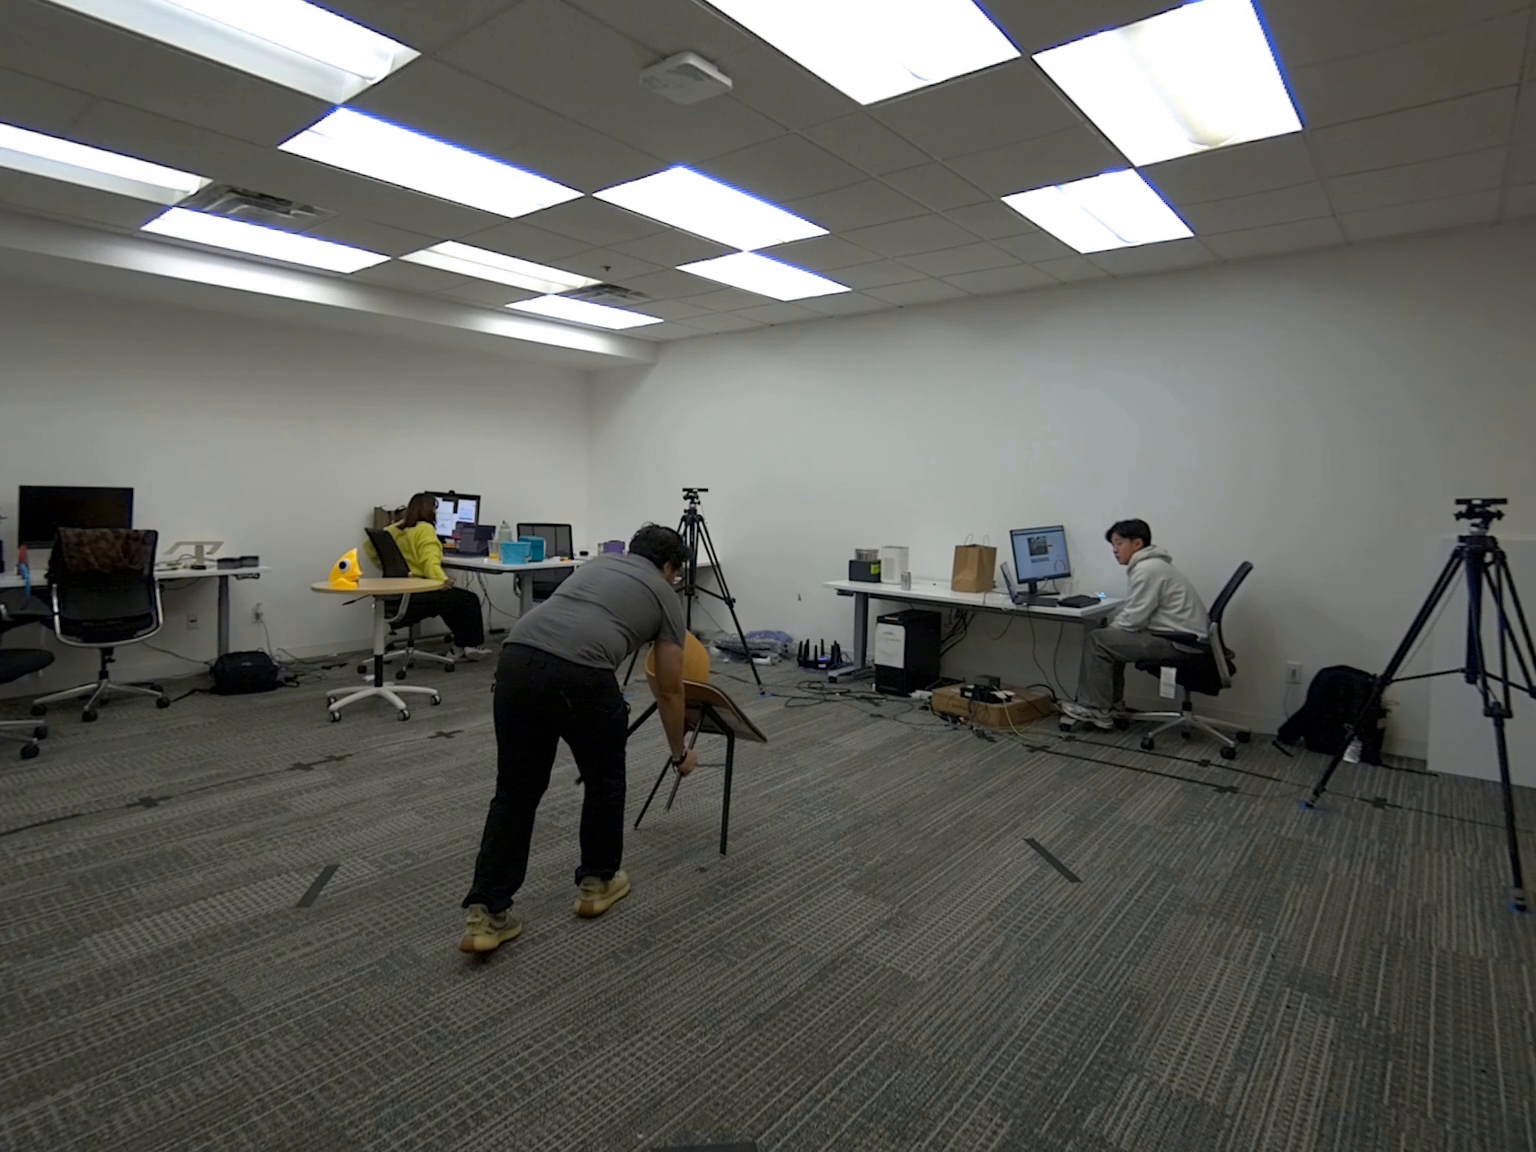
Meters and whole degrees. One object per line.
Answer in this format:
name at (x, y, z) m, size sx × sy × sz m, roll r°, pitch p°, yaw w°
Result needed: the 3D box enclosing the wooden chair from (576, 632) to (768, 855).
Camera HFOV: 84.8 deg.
wooden chair at (-0.296, 0.573, 3.397) m, size 0.538 × 0.889 × 0.458 m, roll -2°, pitch -38°, yaw 31°
